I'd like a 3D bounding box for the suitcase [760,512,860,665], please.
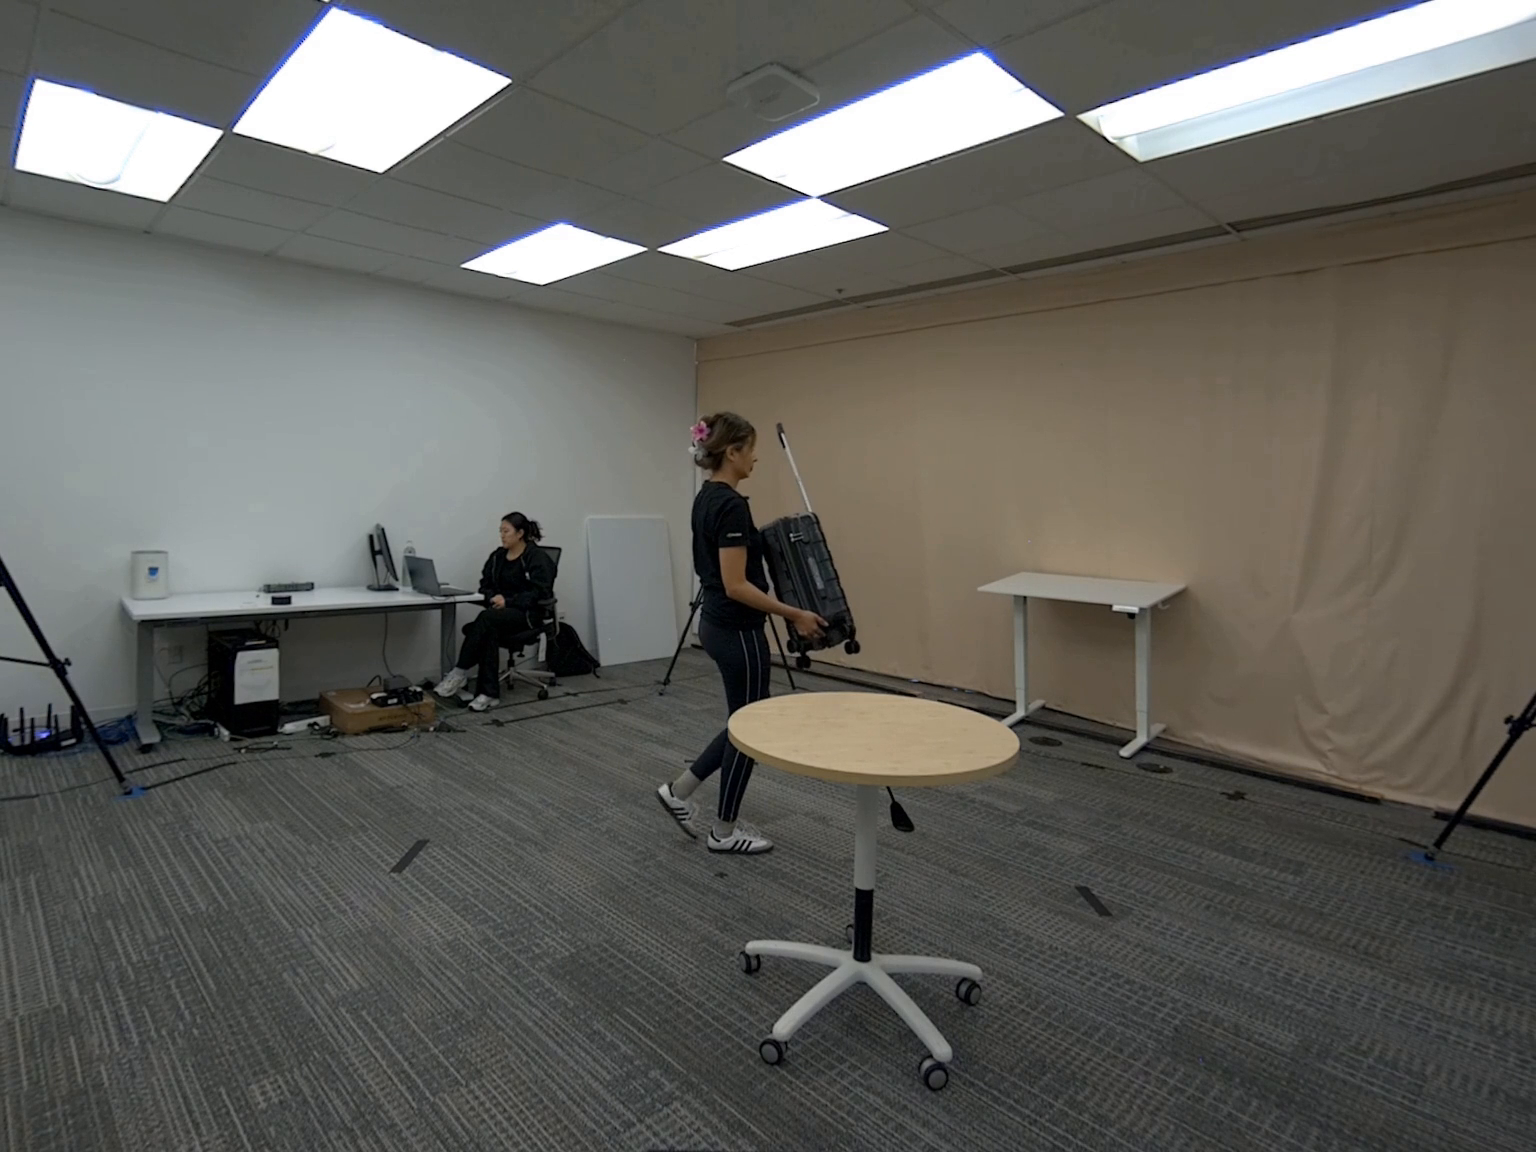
[{"bbox_3d":[0.083,-0.148,3.448,0.257,0.998,0.376,-19,-22,2],"label":"suitcase"}]
